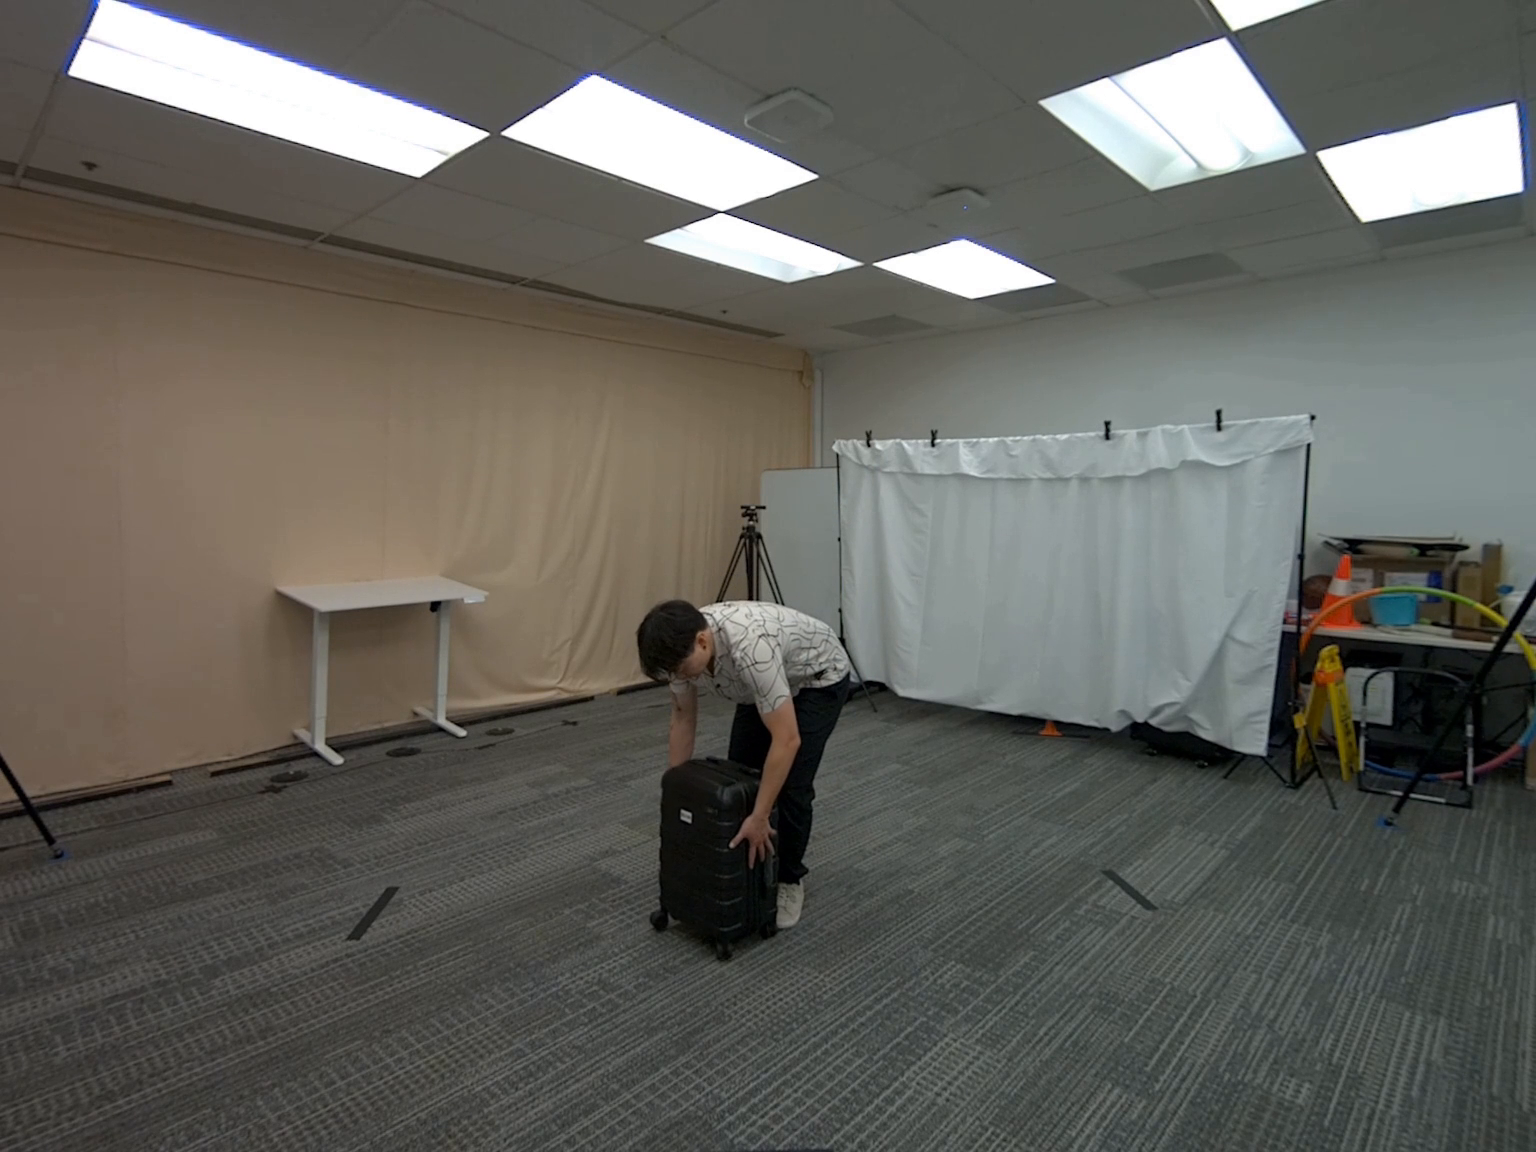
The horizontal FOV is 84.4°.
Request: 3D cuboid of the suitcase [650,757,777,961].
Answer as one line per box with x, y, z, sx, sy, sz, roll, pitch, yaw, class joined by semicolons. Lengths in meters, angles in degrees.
-0.164;0.885;2.721;0.240;0.548;0.388;-1;4;-44;suitcase
